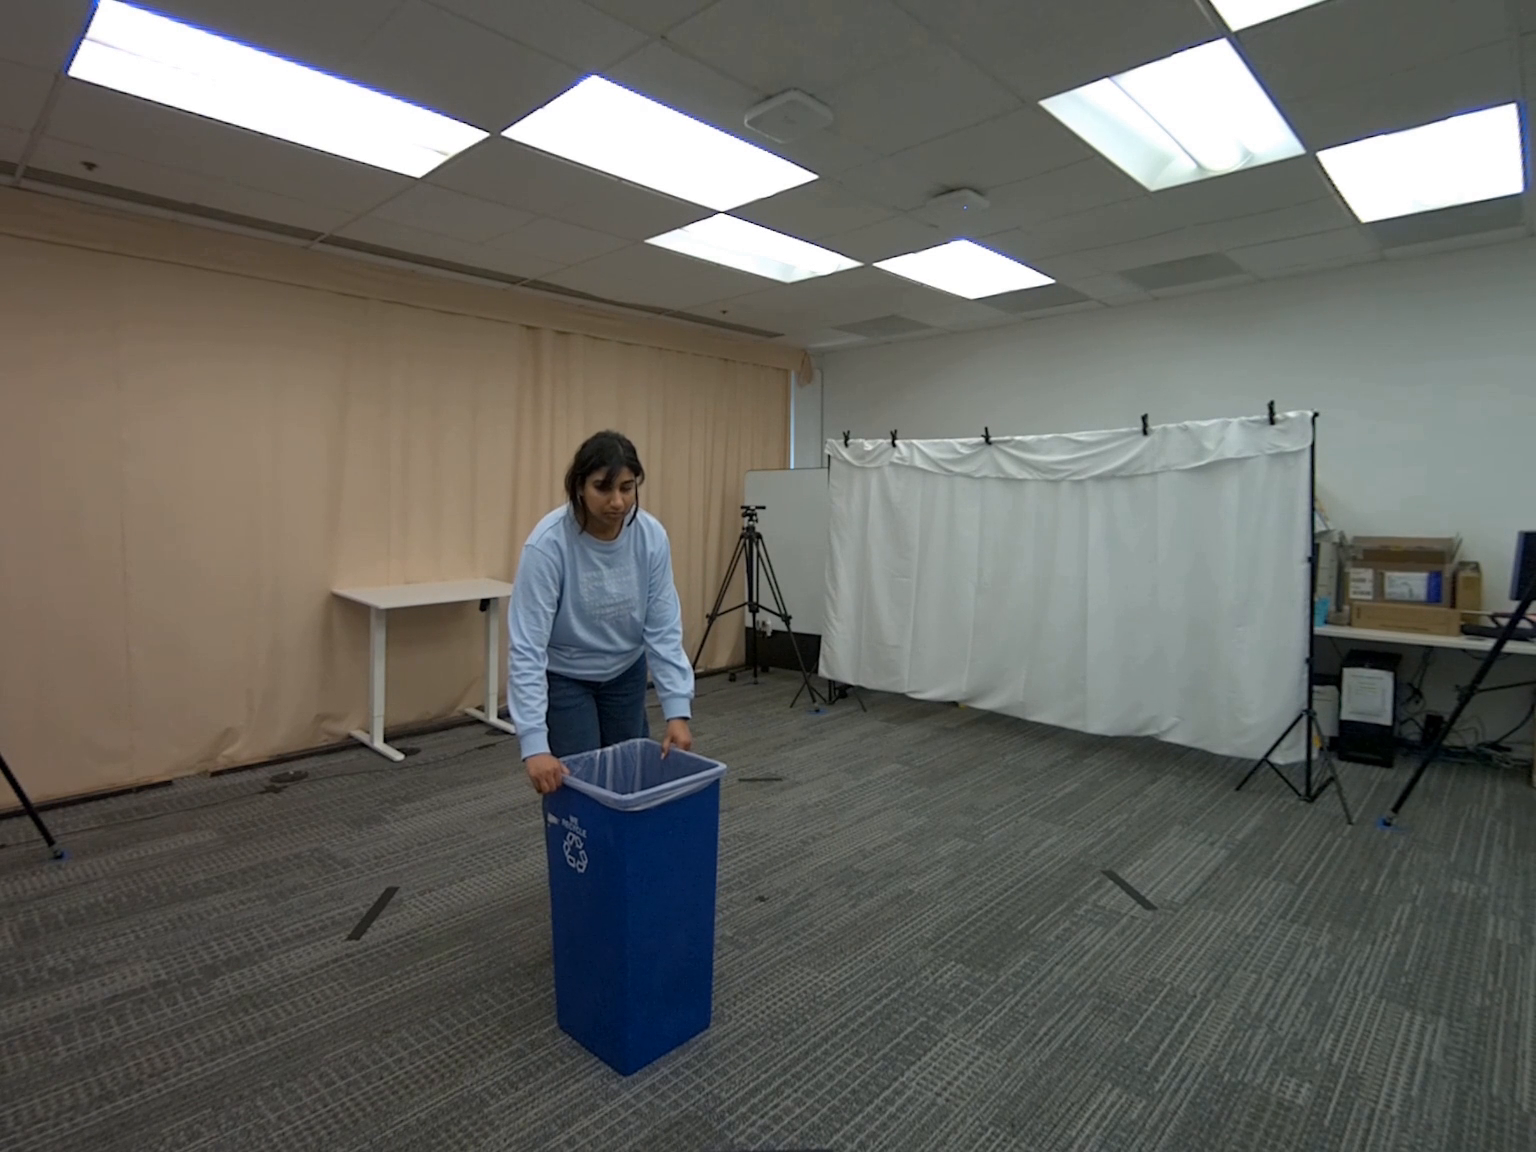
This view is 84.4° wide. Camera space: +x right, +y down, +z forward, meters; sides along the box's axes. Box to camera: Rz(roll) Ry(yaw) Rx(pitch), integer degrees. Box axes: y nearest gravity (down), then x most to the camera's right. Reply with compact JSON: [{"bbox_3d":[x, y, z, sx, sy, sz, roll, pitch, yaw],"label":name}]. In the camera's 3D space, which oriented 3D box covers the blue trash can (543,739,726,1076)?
[{"bbox_3d":[-0.344,0.854,2.227,0.386,0.712,0.366,3,5,43],"label":"blue trash can"}]
